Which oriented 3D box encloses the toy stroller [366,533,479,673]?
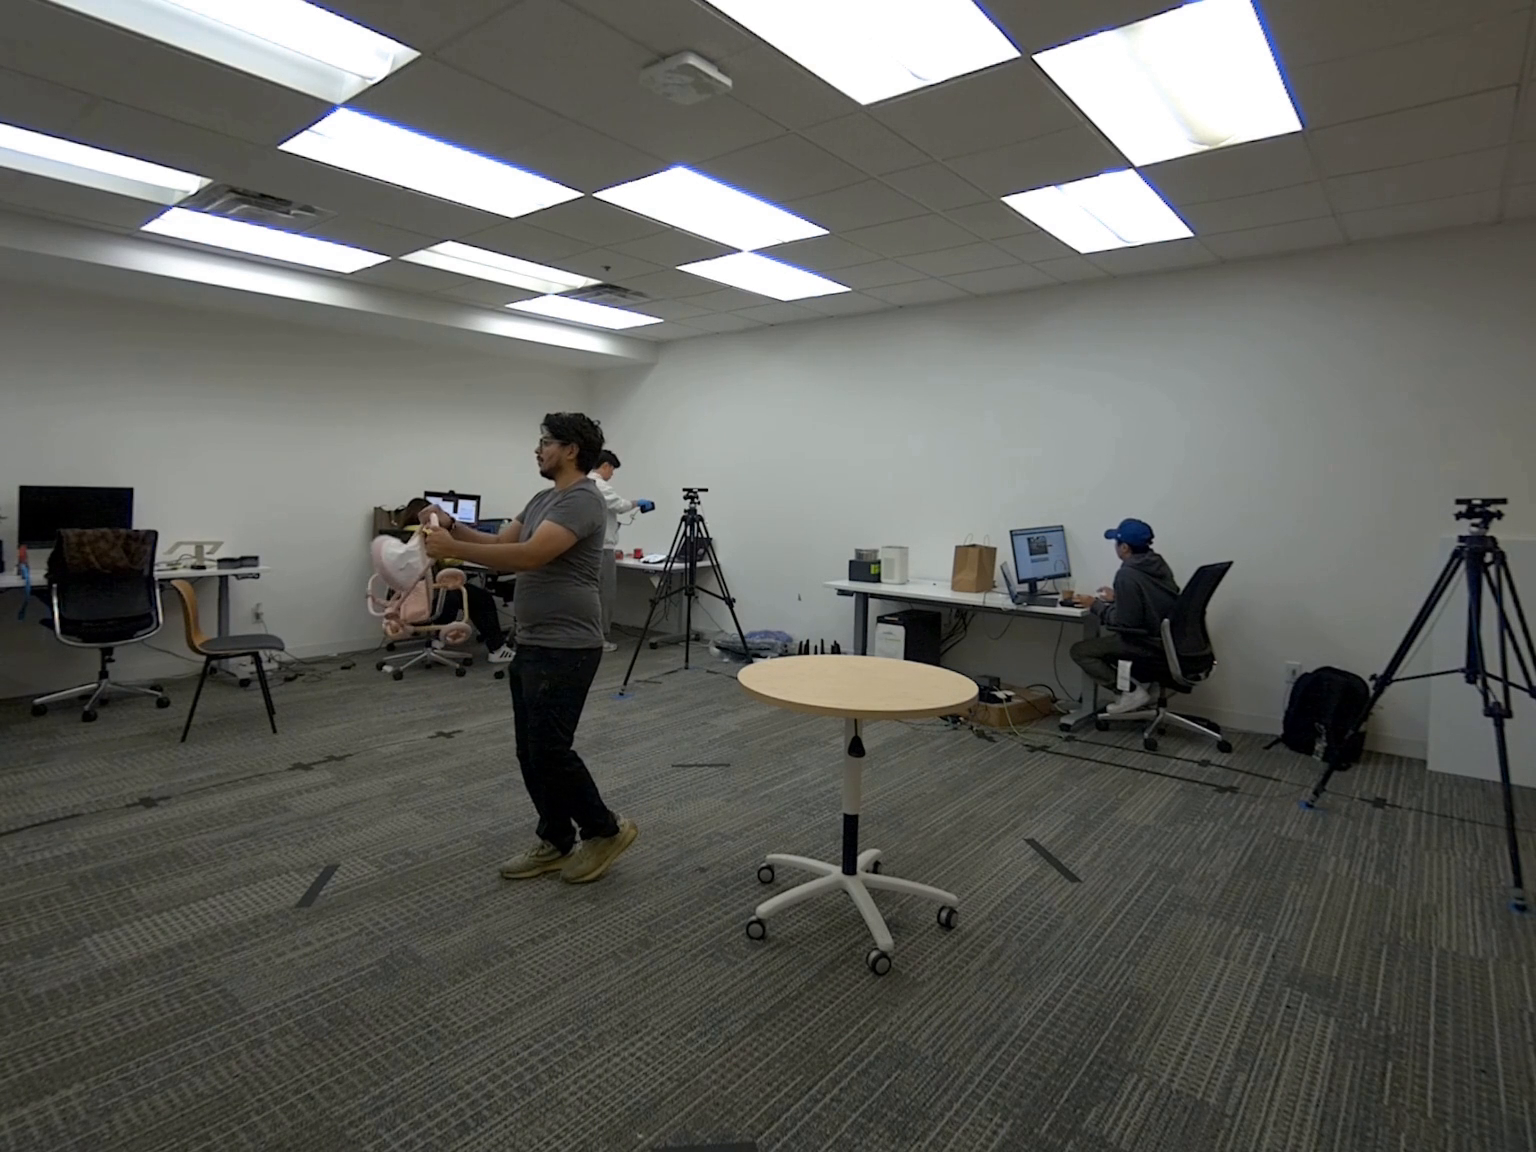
[{"bbox_3d":[-1.270,0.028,3.001,0.339,0.291,0.520,-9,-37,-8],"label":"toy stroller"}]
